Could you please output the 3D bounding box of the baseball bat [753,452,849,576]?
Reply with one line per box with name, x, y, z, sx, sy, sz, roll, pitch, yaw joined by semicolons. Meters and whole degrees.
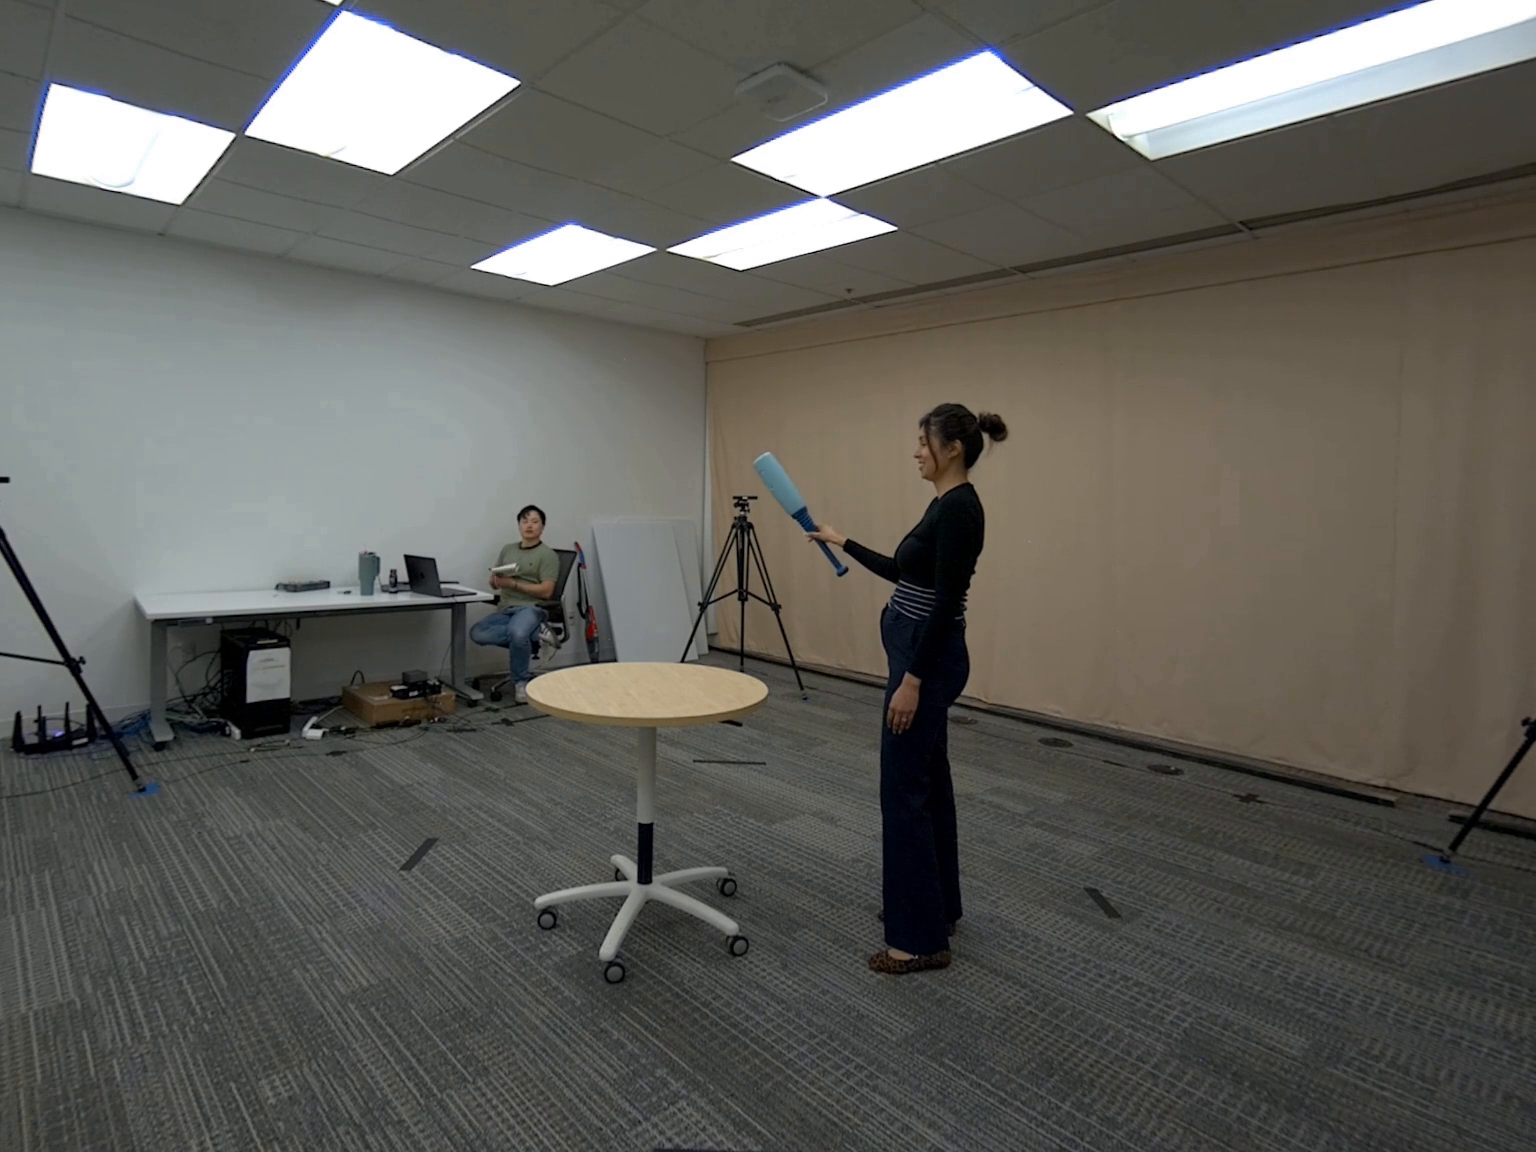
baseball bat;0.123;-0.223;3.160;0.089;0.546;0.088;-34;-6;-4
